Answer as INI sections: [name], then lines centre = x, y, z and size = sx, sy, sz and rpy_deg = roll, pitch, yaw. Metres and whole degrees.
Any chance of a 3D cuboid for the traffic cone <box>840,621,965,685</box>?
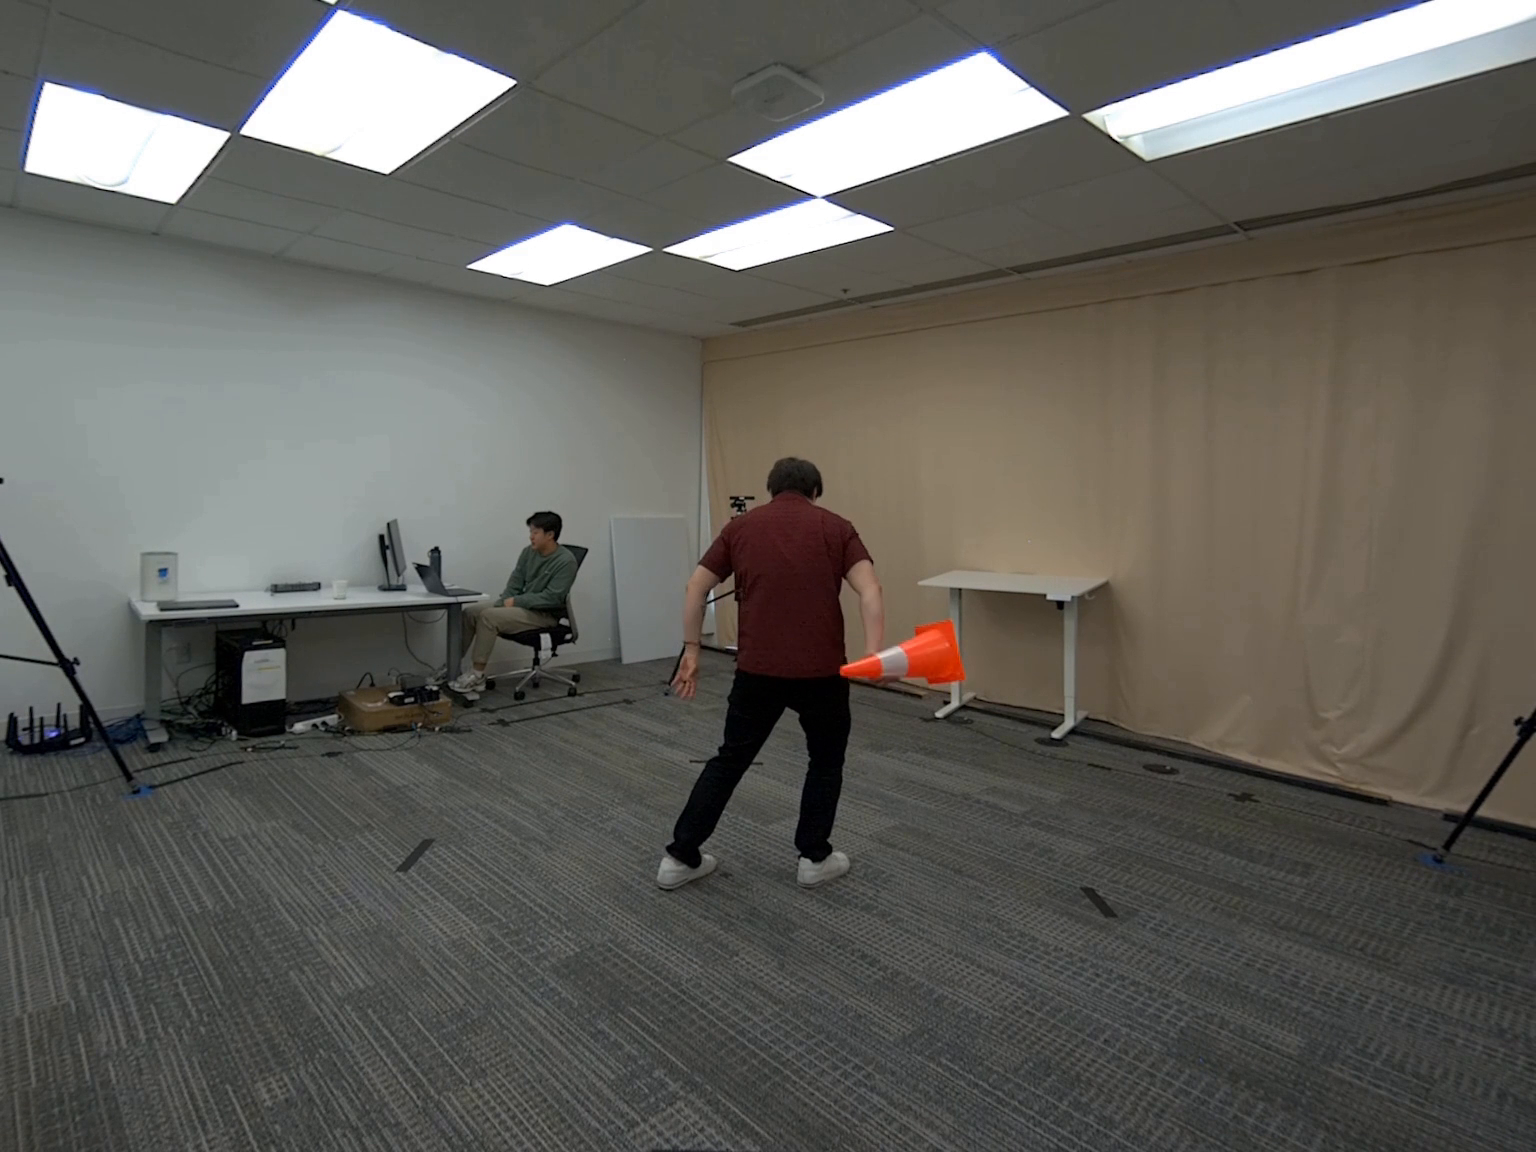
[traffic cone]
centre = 0.392, 0.287, 2.695
size = 0.377, 0.205, 0.207
rpy_deg = -9, -9, -26
